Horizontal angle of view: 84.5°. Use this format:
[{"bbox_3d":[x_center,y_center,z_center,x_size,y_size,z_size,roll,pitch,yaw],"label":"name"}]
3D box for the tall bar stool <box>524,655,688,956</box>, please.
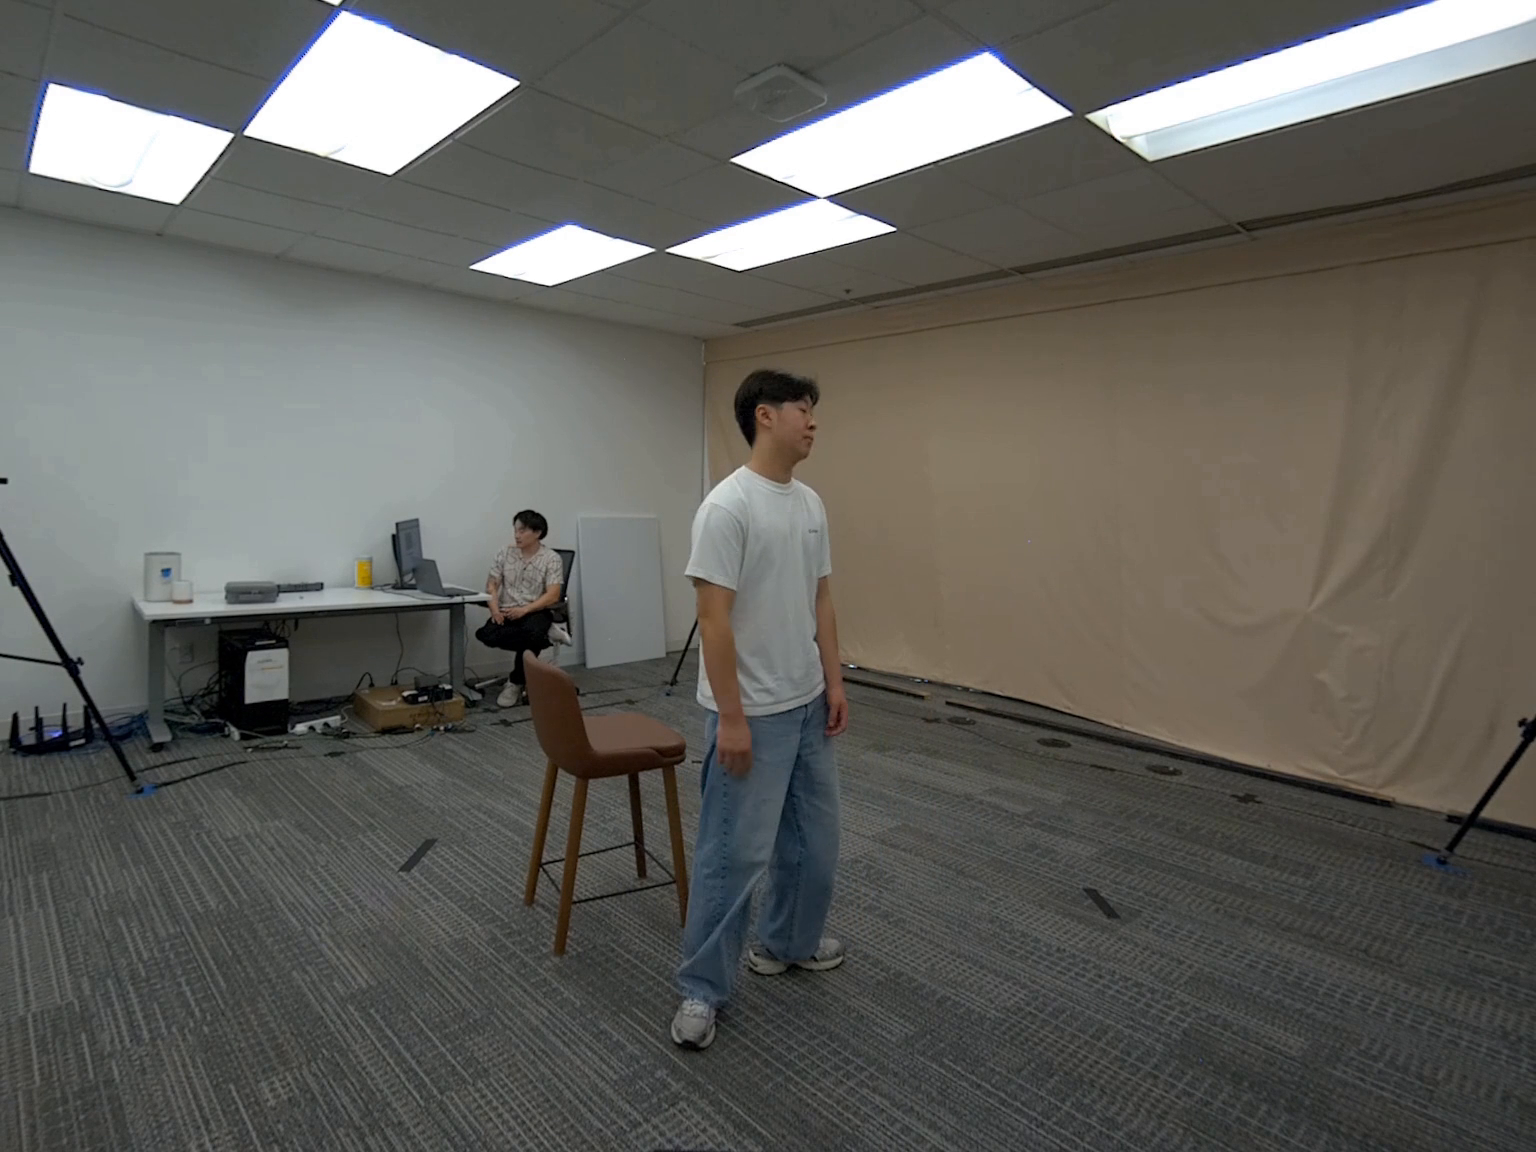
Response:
[{"bbox_3d":[-0.543,0.691,2.778,0.458,0.887,0.467,-3,5,-30],"label":"tall bar stool"}]
